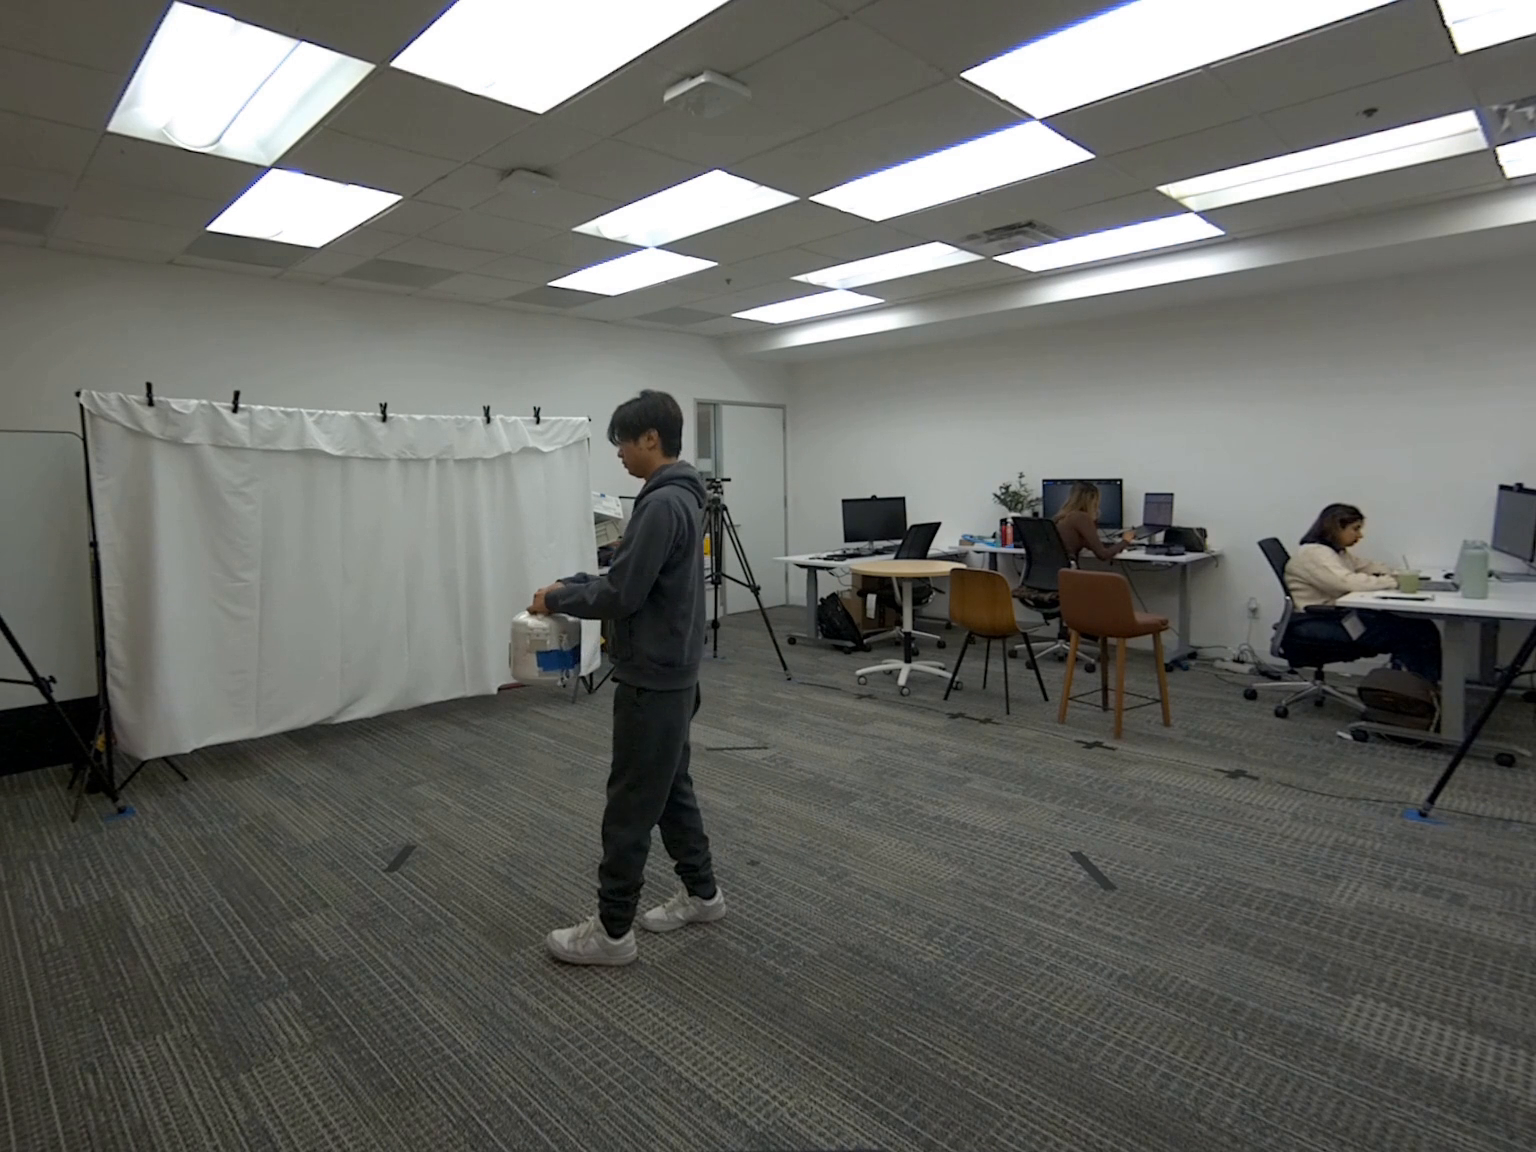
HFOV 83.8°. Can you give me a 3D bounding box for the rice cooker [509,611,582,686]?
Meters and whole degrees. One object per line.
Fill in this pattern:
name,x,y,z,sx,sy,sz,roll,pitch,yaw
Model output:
rice cooker,-0.677,0.205,2.593,0.218,0.232,0.221,1,2,0
